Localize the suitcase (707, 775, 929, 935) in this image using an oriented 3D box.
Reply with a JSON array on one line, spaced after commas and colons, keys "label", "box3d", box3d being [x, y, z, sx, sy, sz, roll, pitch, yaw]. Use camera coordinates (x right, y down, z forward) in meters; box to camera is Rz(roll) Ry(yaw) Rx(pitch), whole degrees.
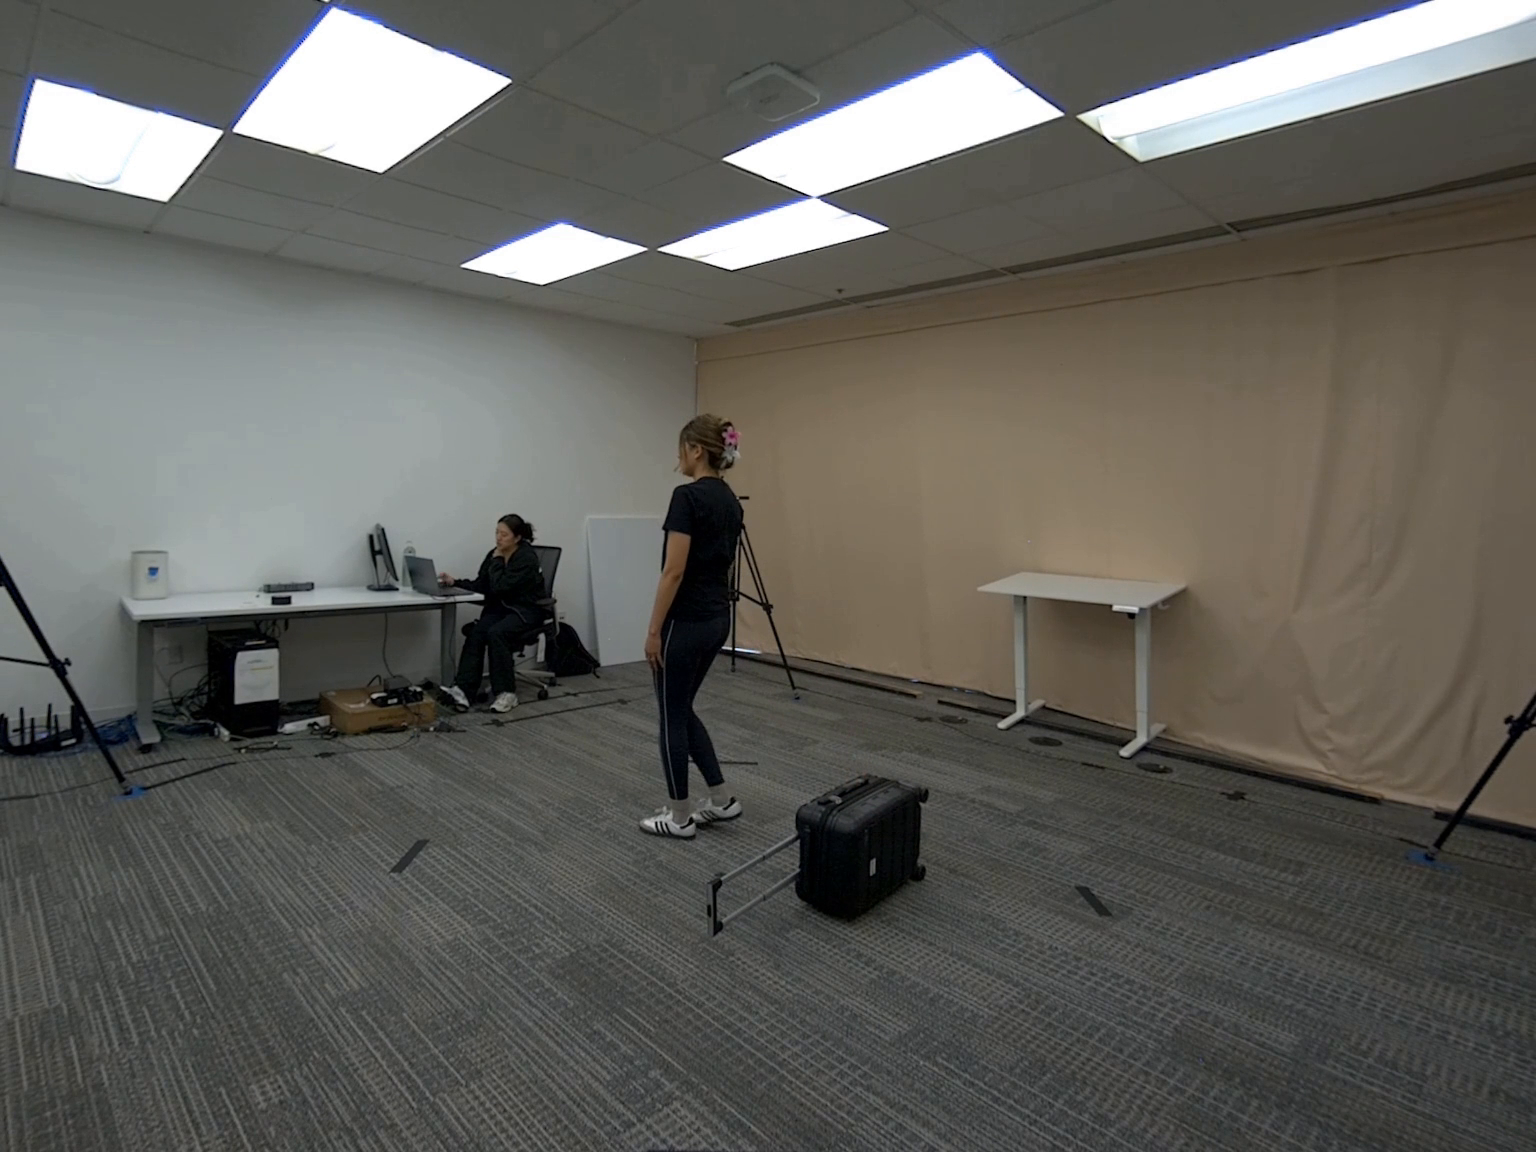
[{"label": "suitcase", "box3d": [0.203, 0.952, 2.809, 0.263, 0.383, 0.958, 4, 6, 36]}]
